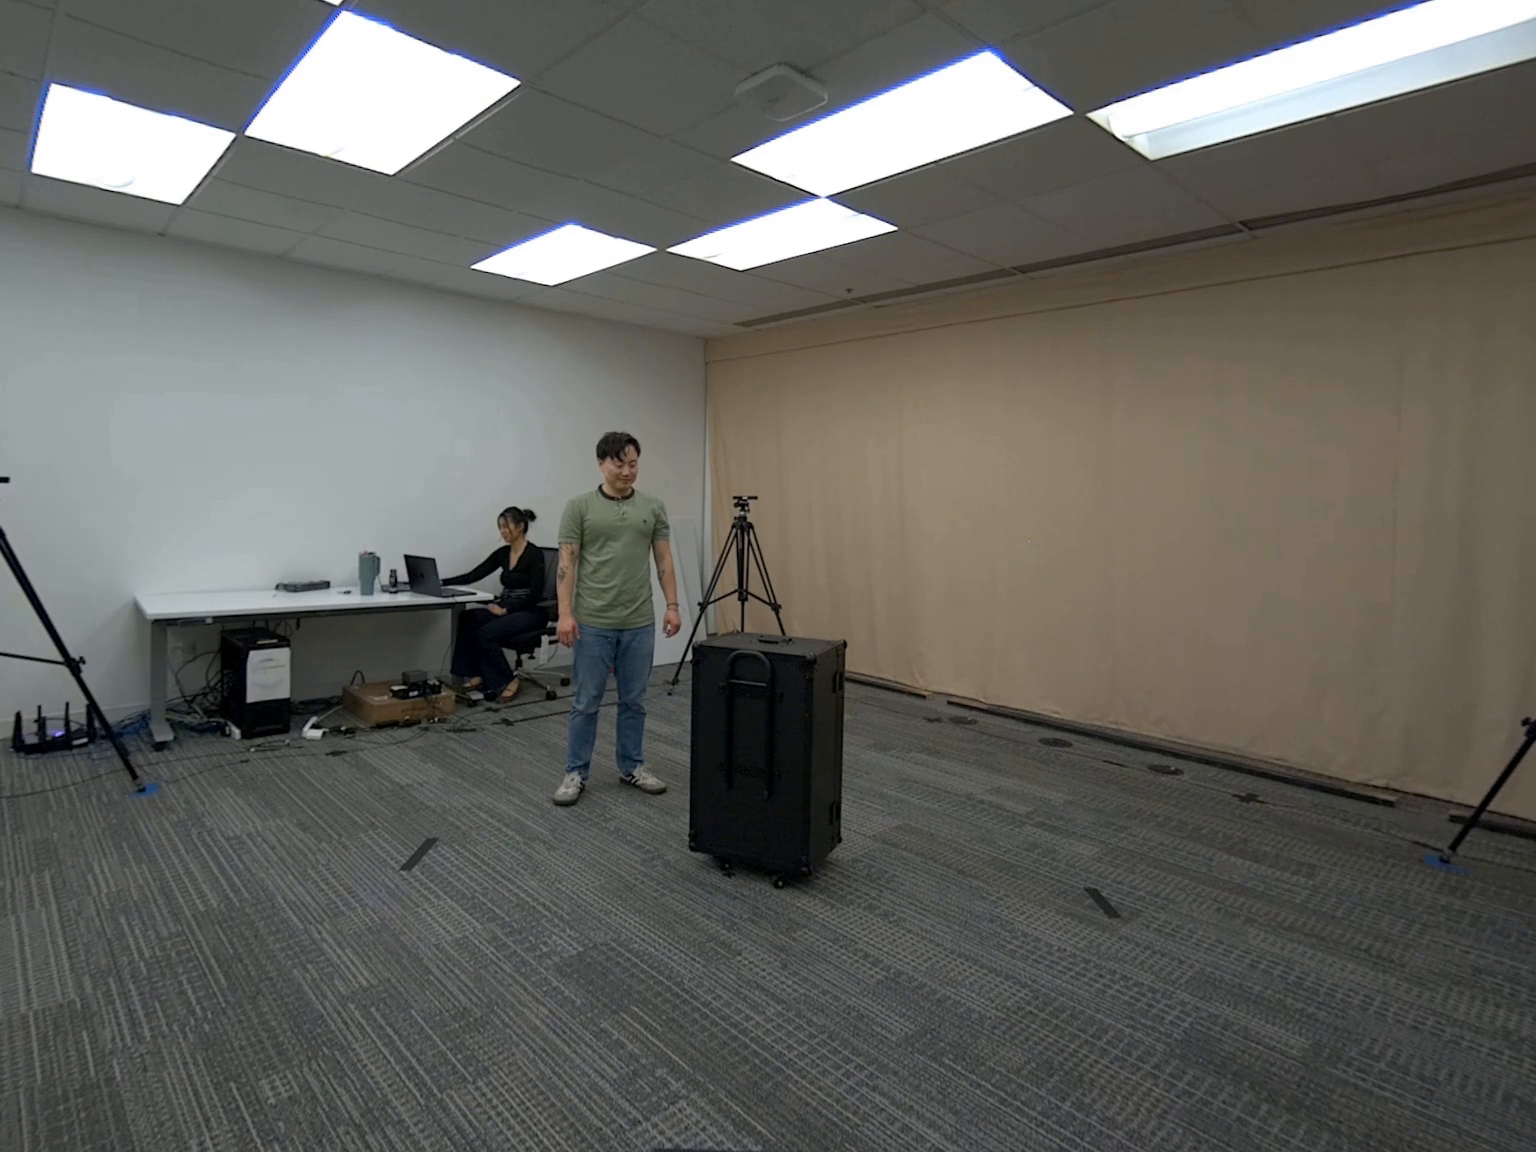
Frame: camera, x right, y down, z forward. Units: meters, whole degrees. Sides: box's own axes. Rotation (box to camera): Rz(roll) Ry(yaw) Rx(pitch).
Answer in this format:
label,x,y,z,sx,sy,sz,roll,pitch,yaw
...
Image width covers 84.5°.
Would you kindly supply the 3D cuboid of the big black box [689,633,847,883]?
label,x,y,z,sx,sy,sz,roll,pitch,yaw
big black box,-0.005,0.672,3.164,0.531,0.859,0.389,3,4,26
